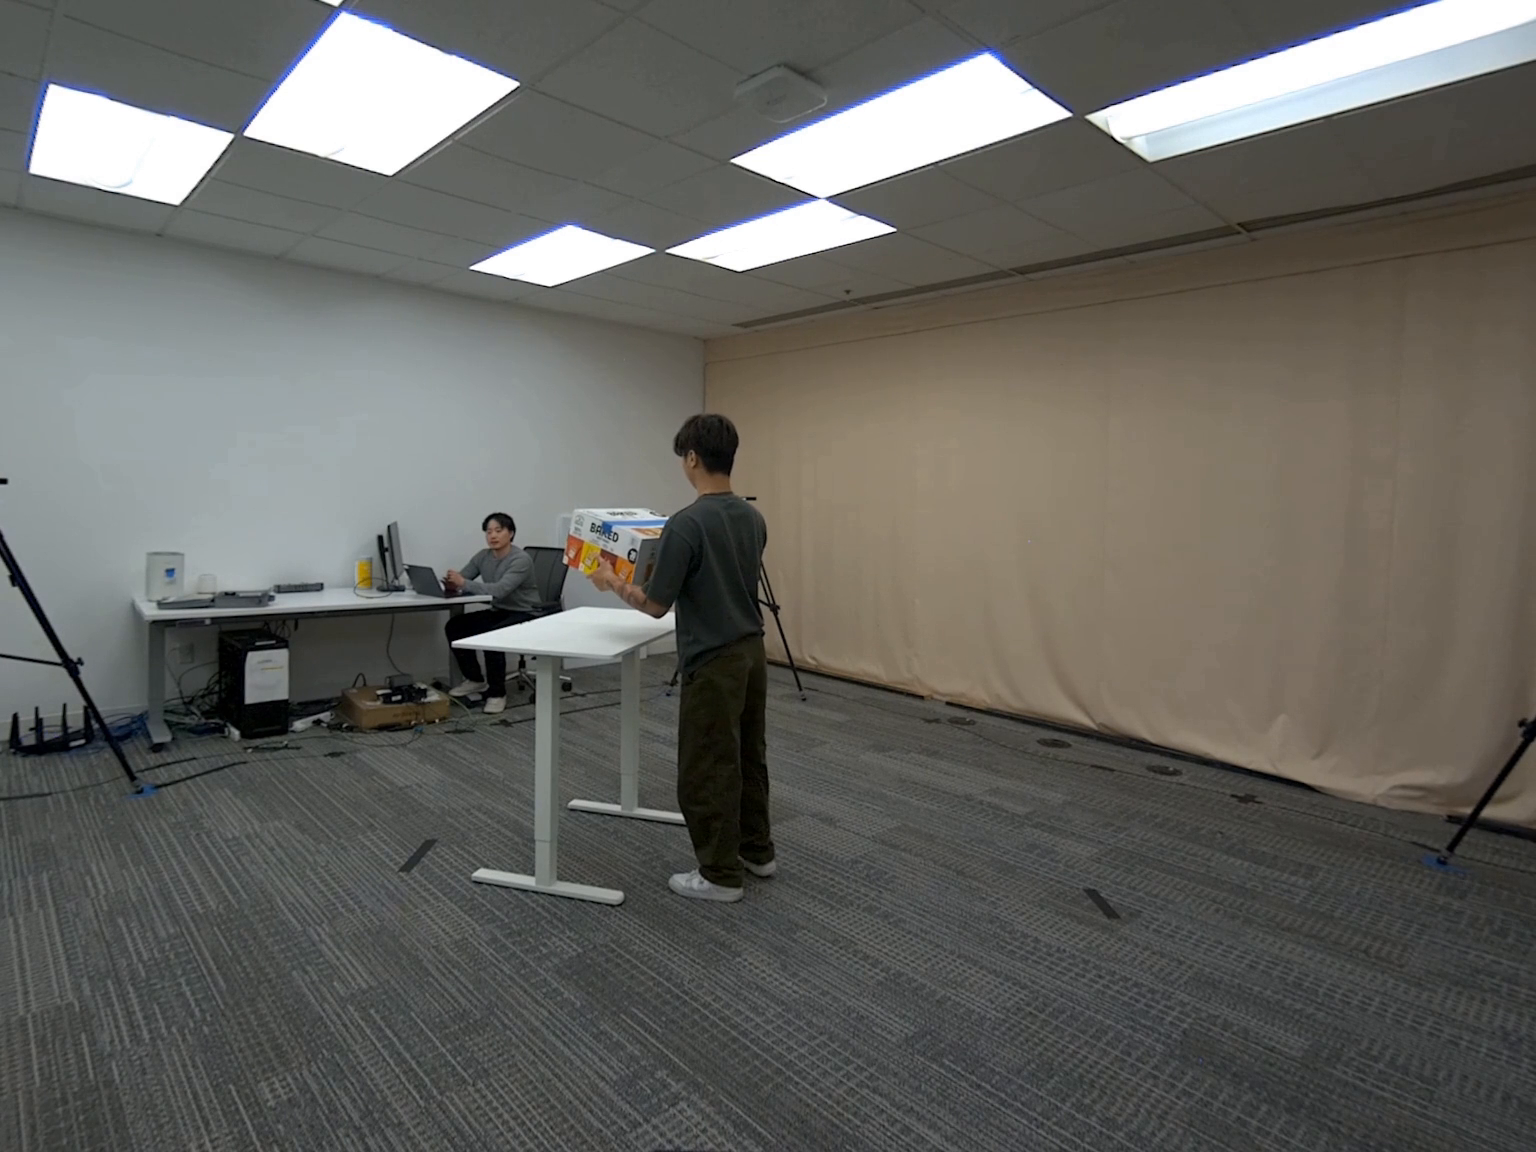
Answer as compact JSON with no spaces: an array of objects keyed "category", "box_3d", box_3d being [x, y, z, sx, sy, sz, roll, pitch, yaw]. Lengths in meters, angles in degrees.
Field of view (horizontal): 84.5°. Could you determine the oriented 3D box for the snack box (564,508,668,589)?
[{"category":"snack box","box_3d":[-0.476,-0.101,3.092,0.349,0.204,0.397,23,16,30]}]
